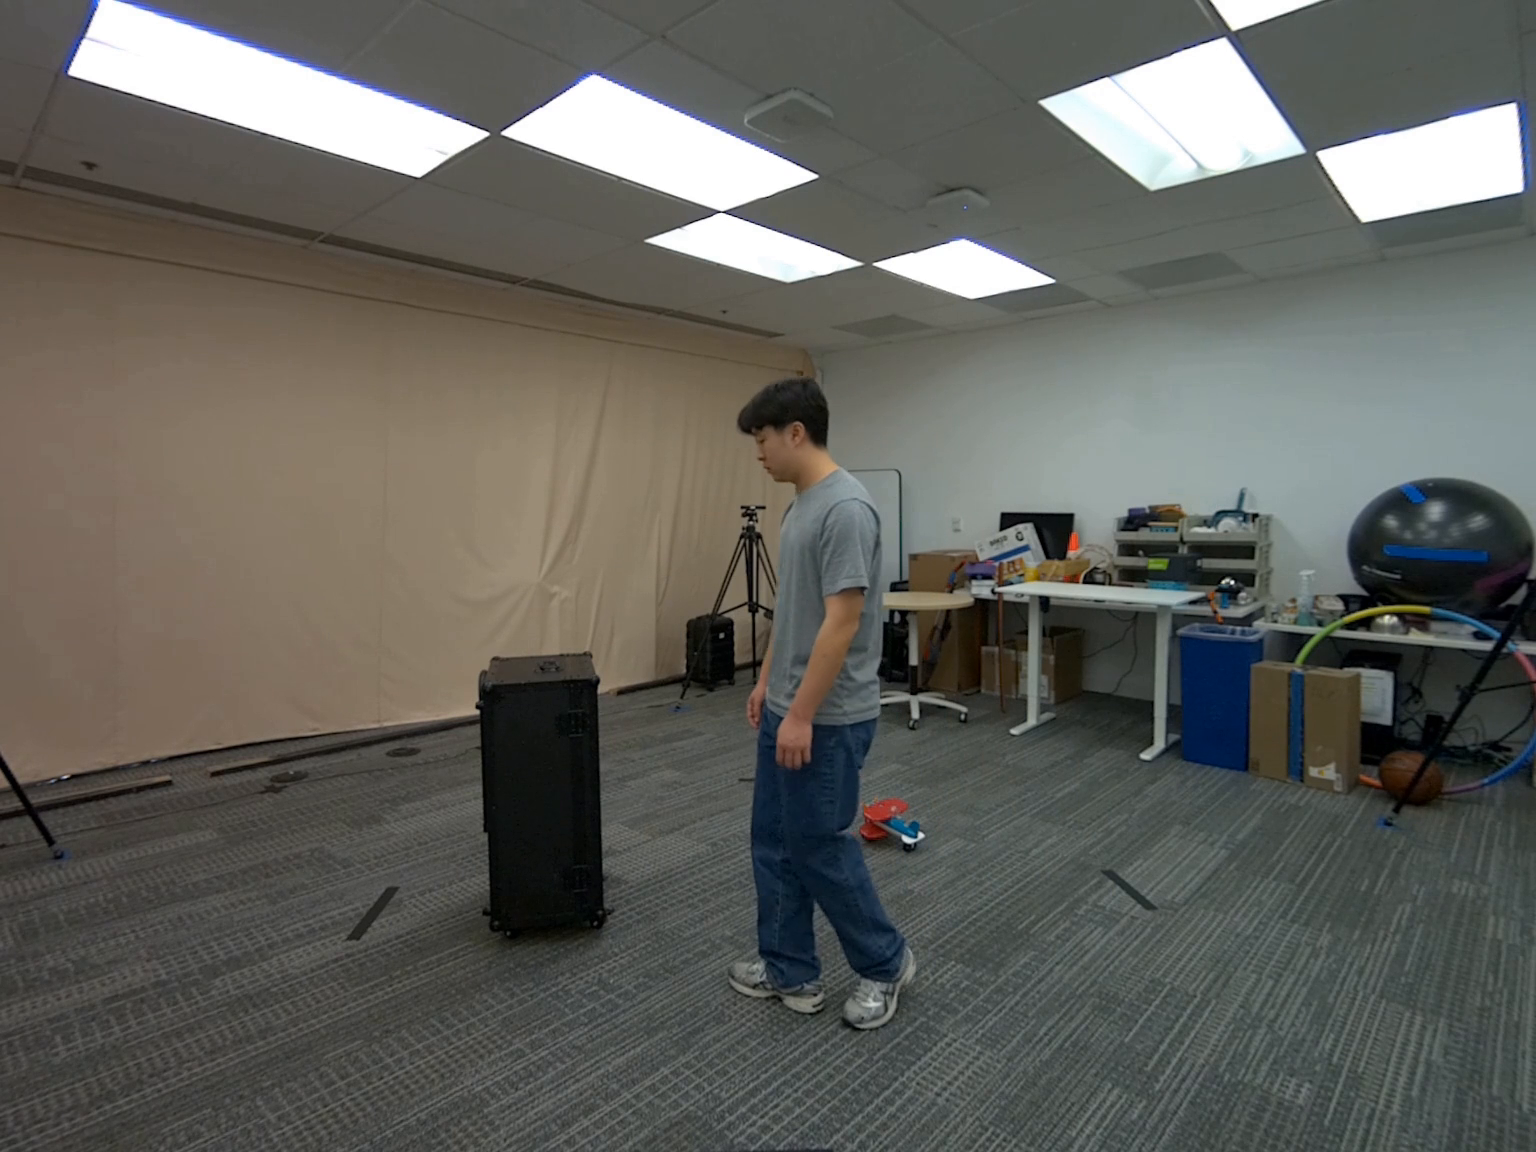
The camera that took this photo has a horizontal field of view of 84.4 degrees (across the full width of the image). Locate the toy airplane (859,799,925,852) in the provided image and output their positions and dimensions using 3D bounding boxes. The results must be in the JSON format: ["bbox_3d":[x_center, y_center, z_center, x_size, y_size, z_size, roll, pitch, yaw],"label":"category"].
[{"bbox_3d":[0.522,1.029,3.477,0.264,0.156,0.247,0,4,18],"label":"toy airplane"}]
